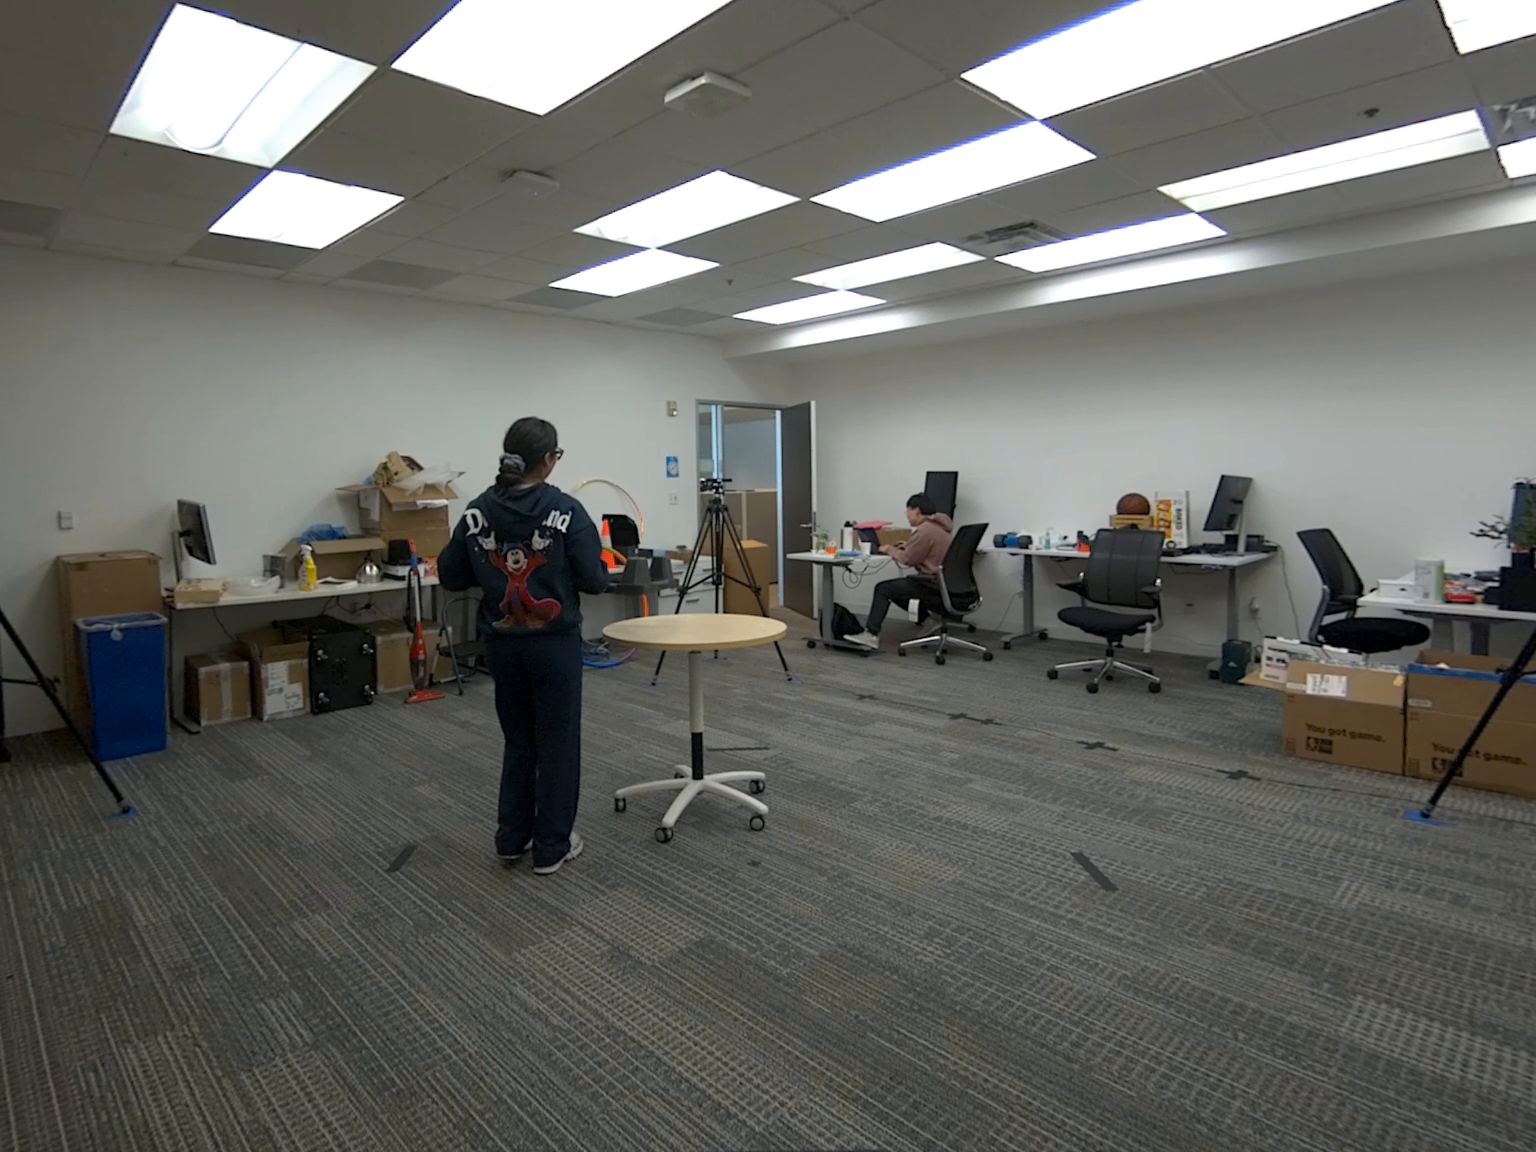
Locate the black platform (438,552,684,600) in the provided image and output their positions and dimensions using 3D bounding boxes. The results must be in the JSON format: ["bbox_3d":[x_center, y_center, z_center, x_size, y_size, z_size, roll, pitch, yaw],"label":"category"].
[{"bbox_3d":[-0.804,-0.018,3.453,0.814,0.143,0.600,2,3,9],"label":"black platform"}]
